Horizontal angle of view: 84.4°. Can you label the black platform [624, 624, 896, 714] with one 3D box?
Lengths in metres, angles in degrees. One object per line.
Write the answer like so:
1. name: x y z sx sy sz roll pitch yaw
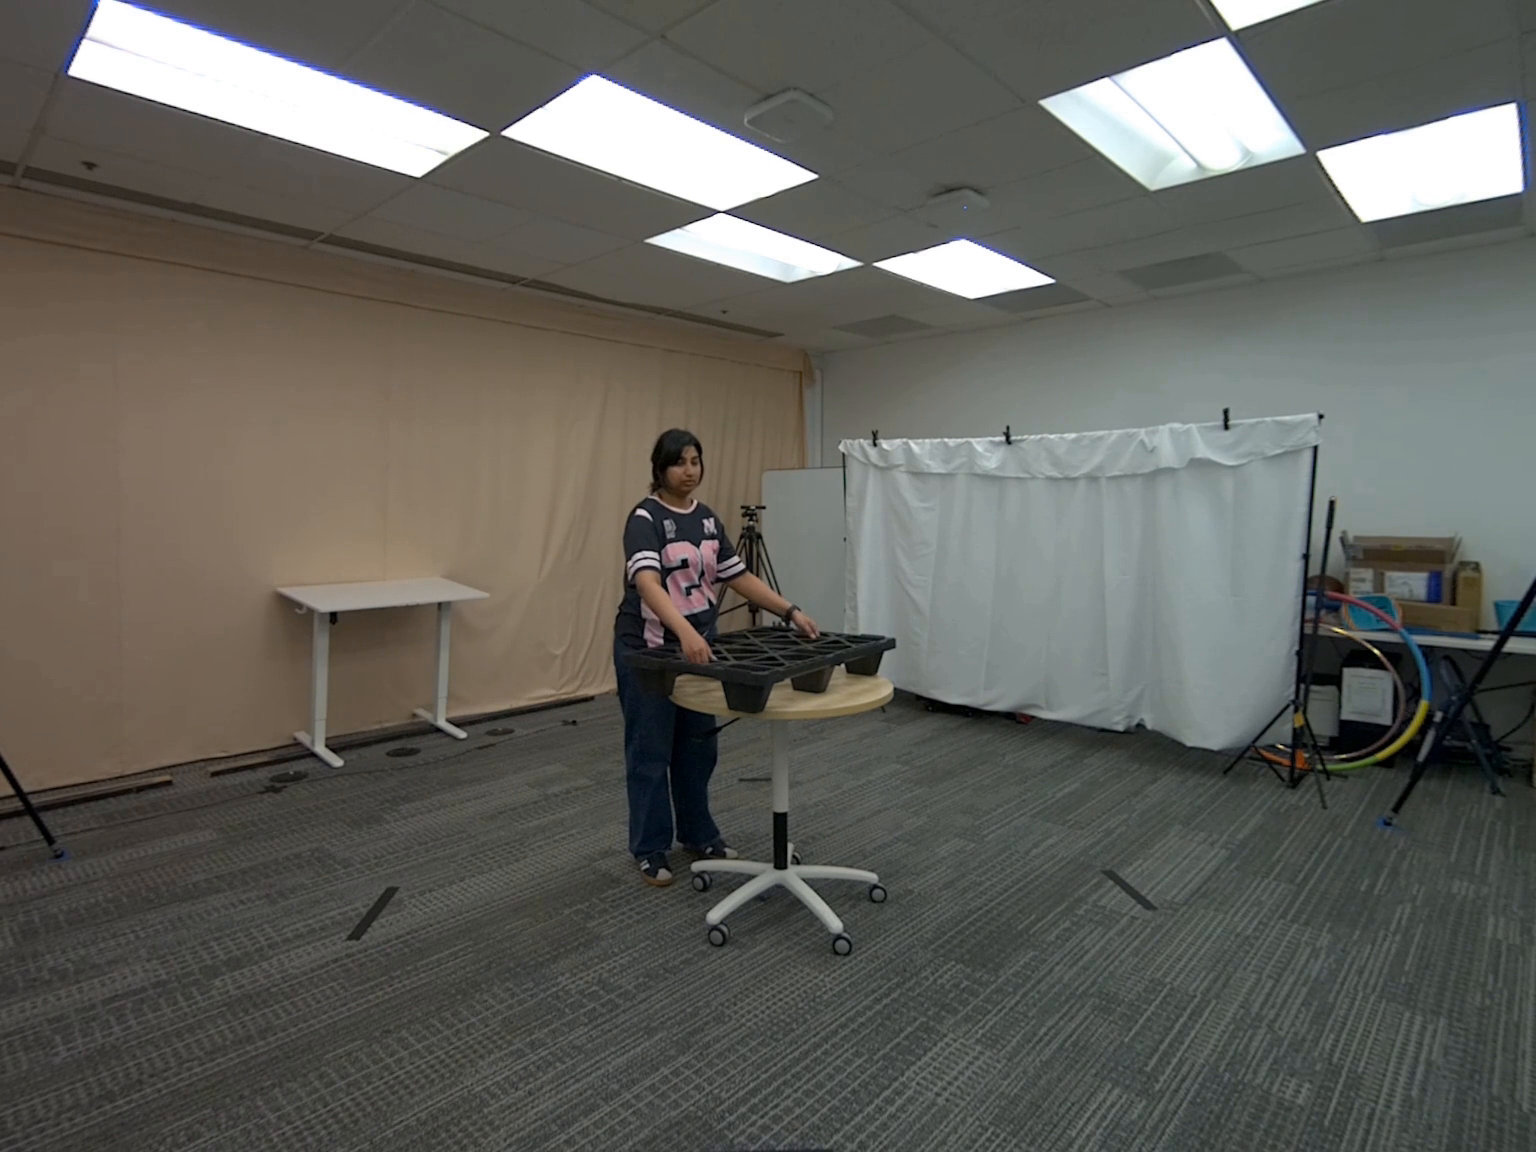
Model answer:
1. black platform: -0.018 0.304 2.876 0.625 0.143 0.781 3 5 38
